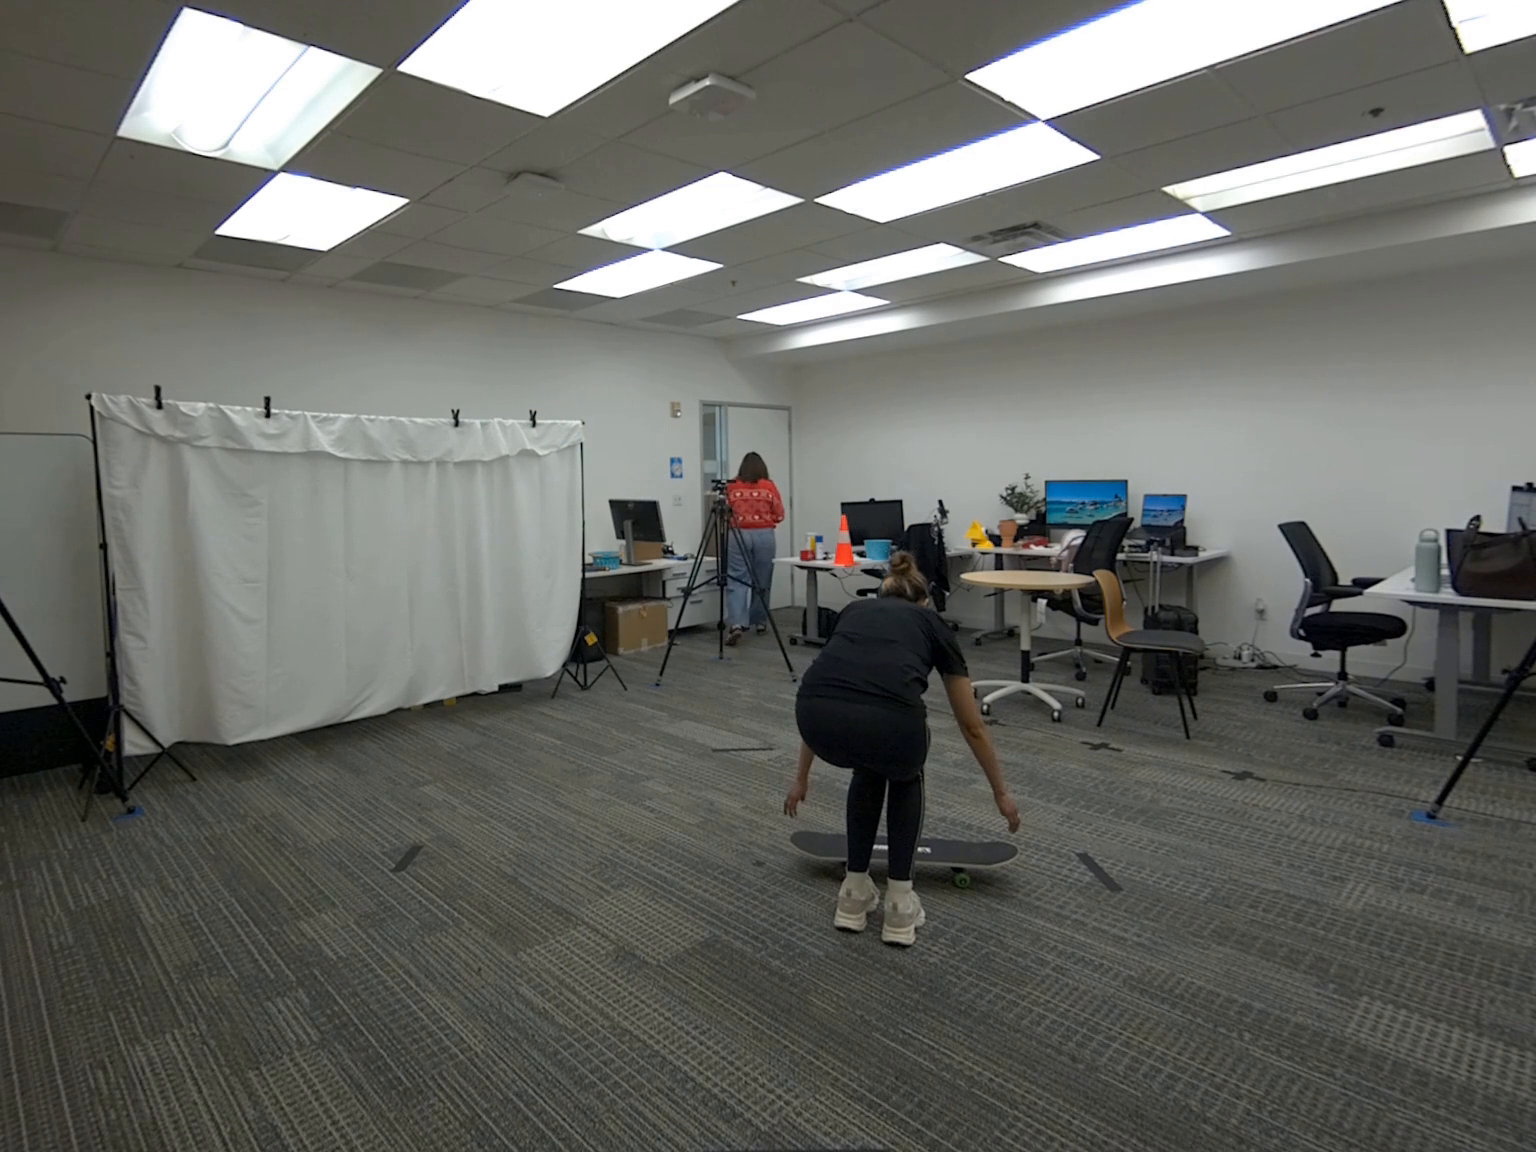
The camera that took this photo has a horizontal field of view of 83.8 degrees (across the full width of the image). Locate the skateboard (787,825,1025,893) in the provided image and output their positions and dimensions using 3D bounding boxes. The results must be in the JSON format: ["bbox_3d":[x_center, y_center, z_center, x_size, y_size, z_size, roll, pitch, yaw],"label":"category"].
[{"bbox_3d":[0.471,0.986,3.010,0.793,0.110,0.192,0,6,10],"label":"skateboard"}]
